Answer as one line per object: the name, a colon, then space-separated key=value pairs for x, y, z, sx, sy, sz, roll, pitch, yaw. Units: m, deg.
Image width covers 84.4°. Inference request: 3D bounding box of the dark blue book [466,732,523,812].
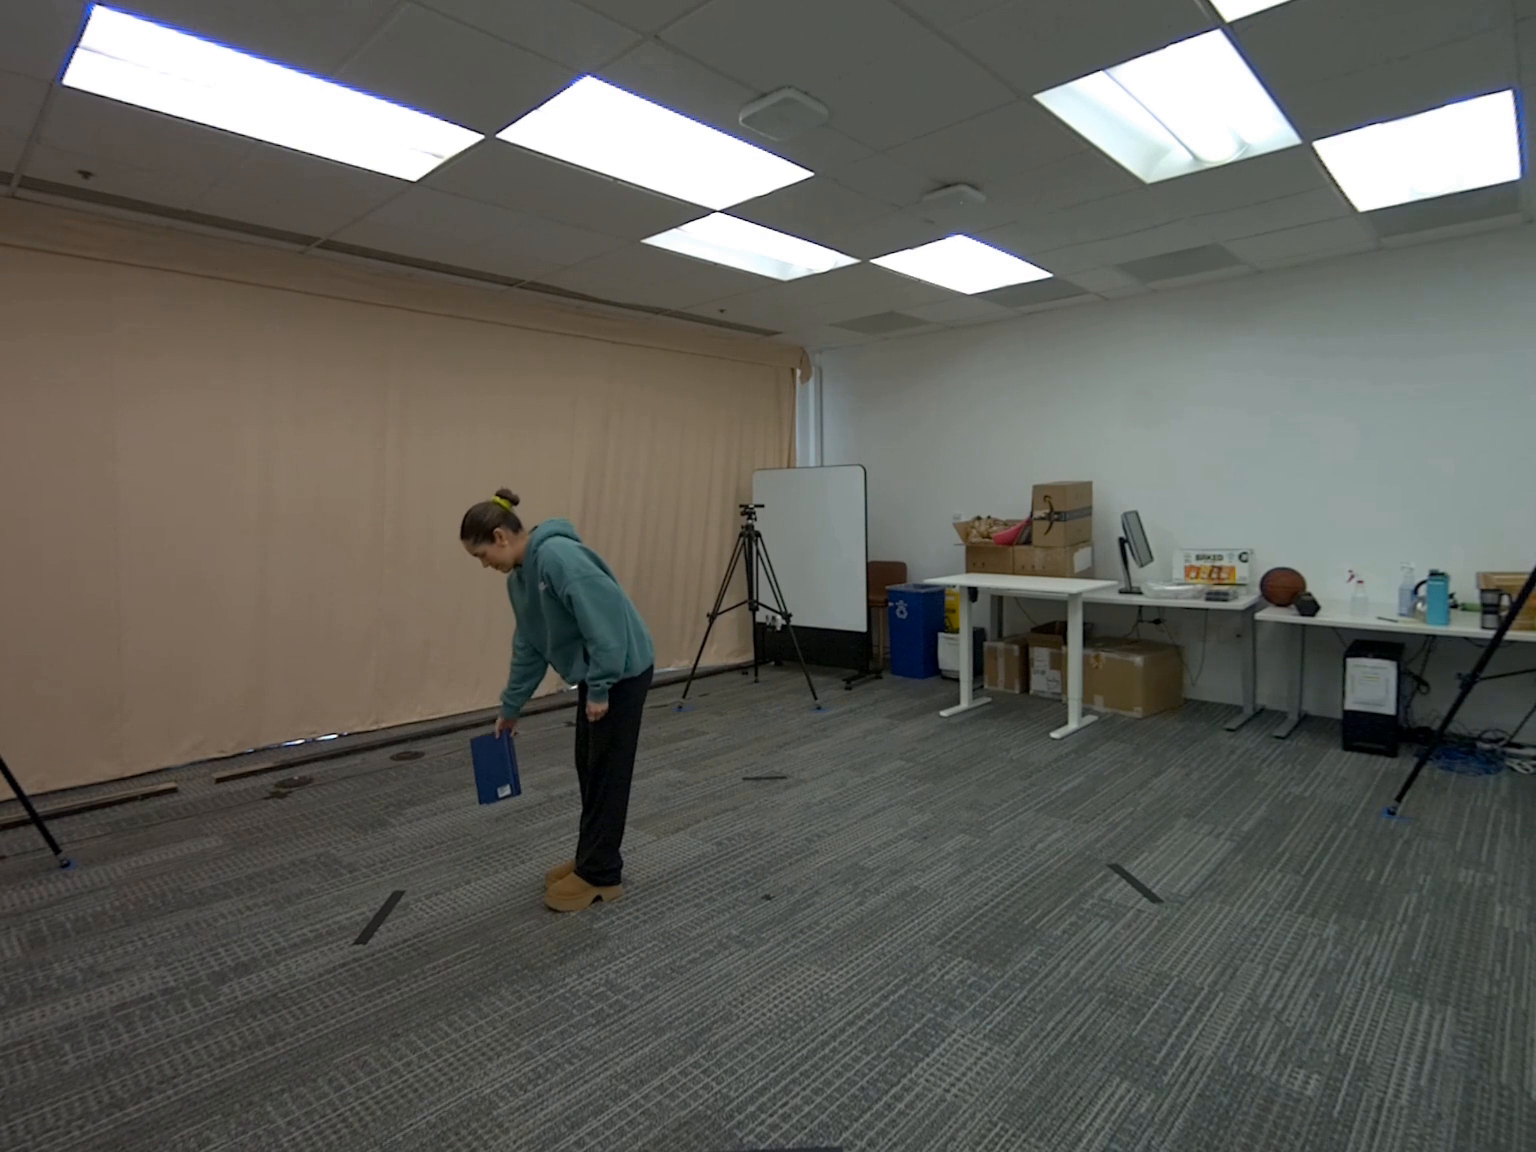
dark blue book: x=-1.004 y=0.712 z=3.098 sx=0.165 sy=0.248 sz=0.044 roll=-20 pitch=-16 yaw=17
